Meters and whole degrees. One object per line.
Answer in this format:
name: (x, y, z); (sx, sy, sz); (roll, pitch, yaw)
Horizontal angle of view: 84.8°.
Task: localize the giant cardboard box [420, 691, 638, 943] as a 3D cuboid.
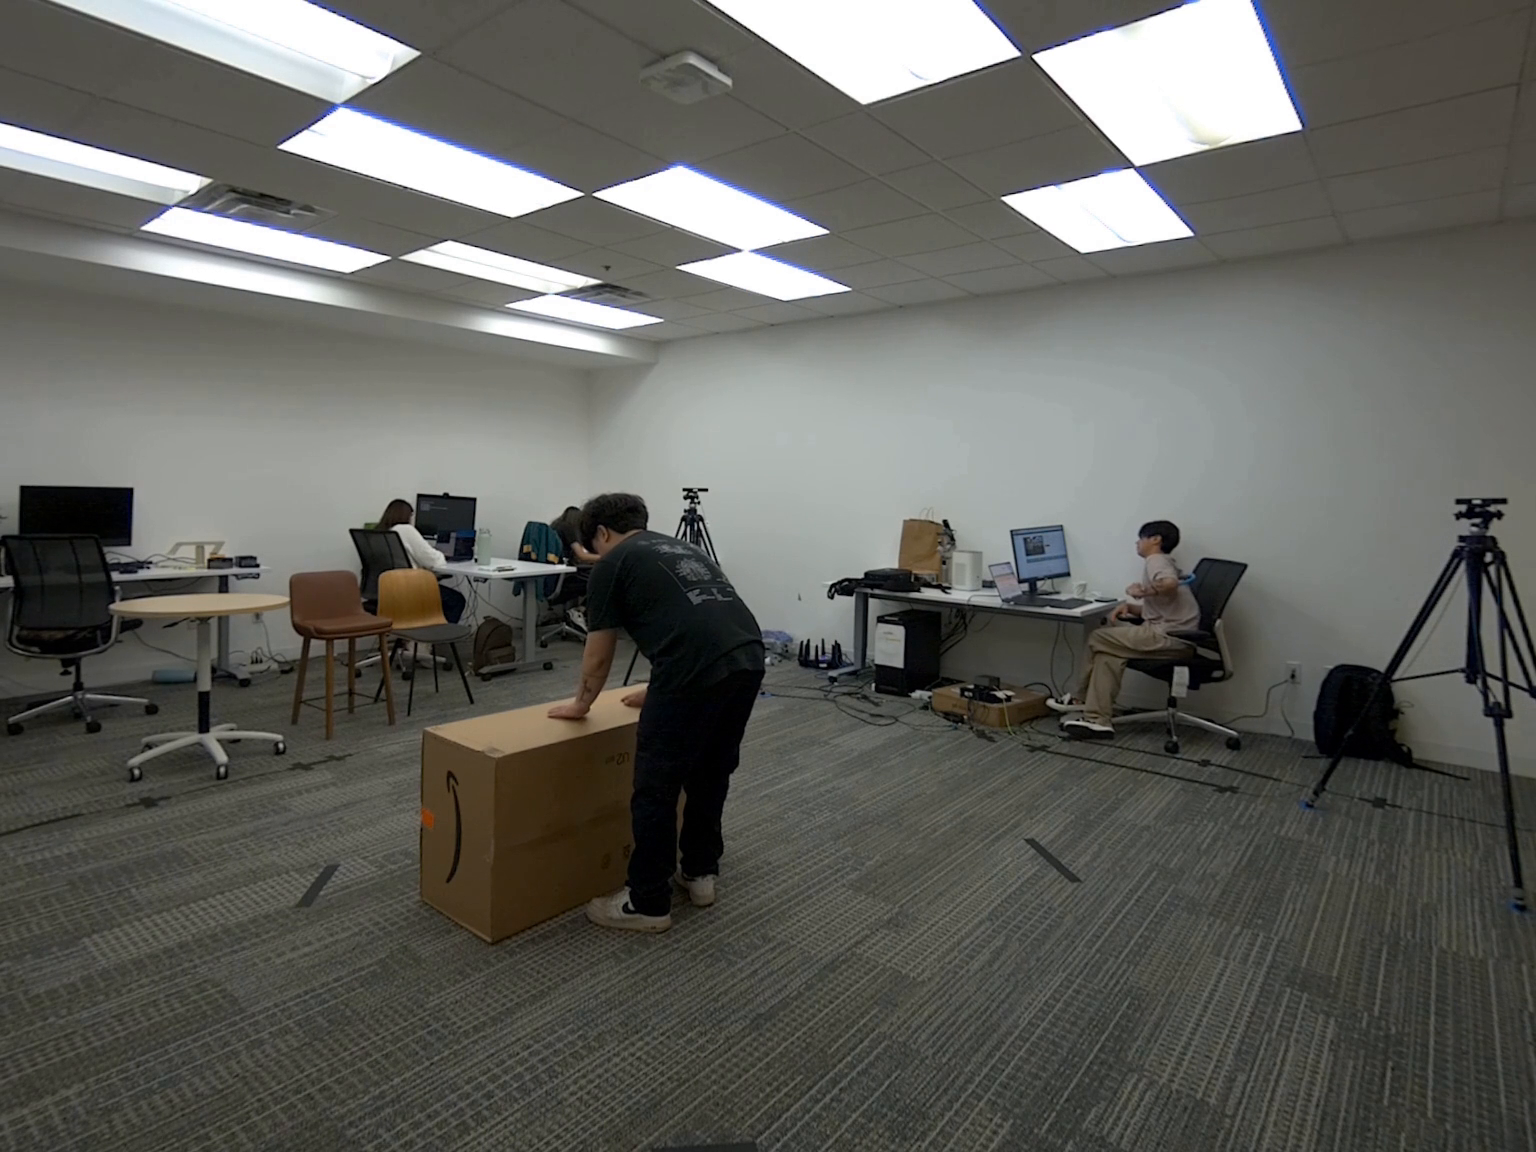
giant cardboard box: (-0.689, 0.781, 3.072); (0.461, 0.582, 0.996); (3, 4, 39)
